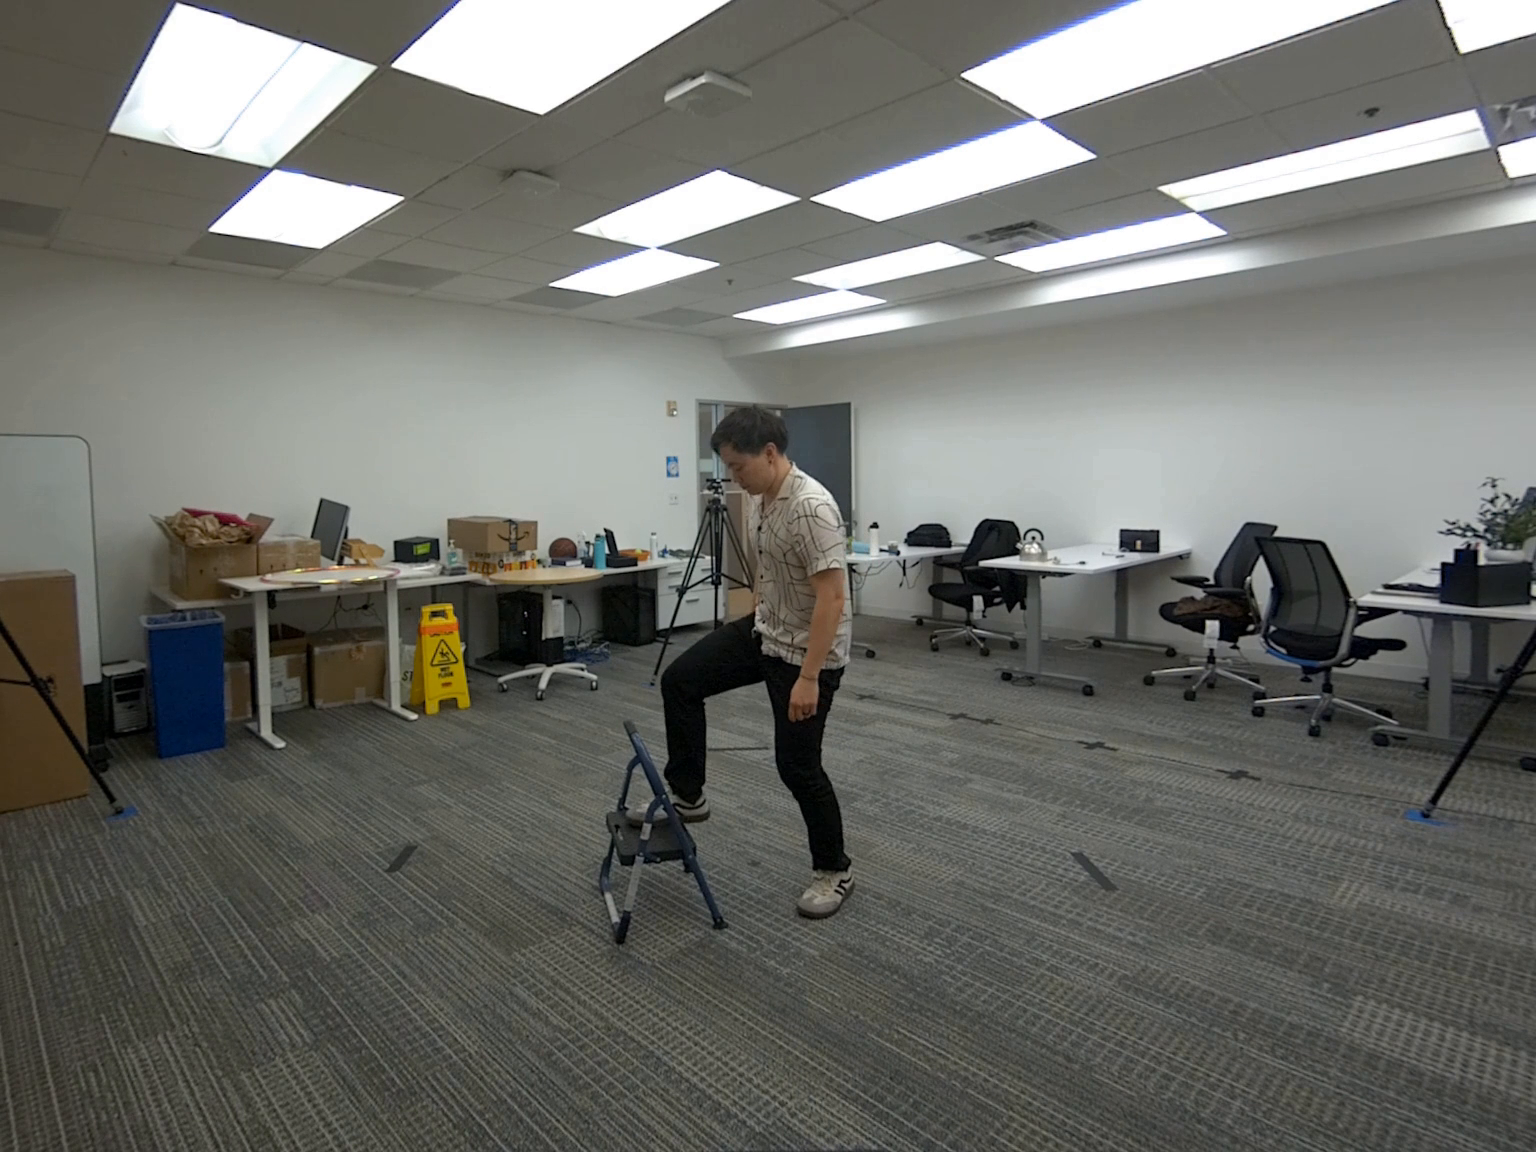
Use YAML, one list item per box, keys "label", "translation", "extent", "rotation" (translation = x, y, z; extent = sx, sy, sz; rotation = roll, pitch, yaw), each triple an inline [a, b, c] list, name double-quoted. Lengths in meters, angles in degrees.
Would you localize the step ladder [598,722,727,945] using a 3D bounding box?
- label: "step ladder"
  translation: [-0.362, 0.783, 2.798]
  extent: [0.344, 0.604, 0.439]
  rotation: [-3, 5, -18]
